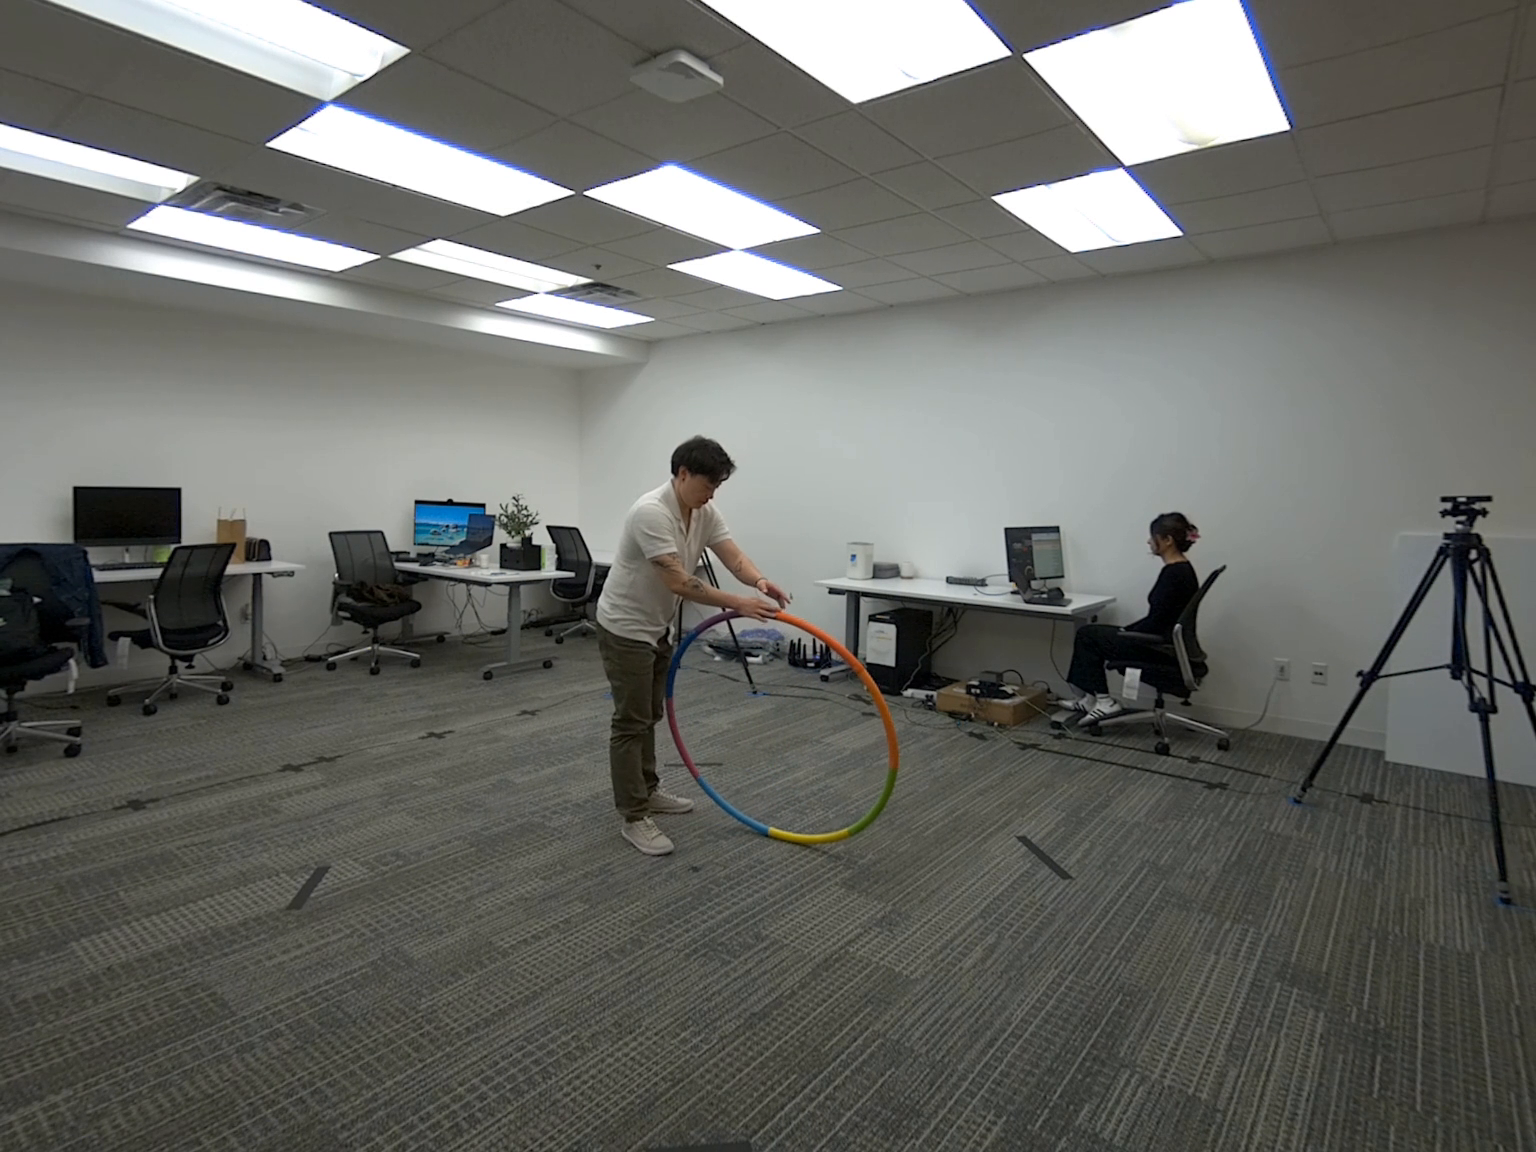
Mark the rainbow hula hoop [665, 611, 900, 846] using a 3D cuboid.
[{"bbox_3d":[0.012,0.581,3.265,1.008,0.964,0.035,4,17,32],"label":"rainbow hula hoop"}]
